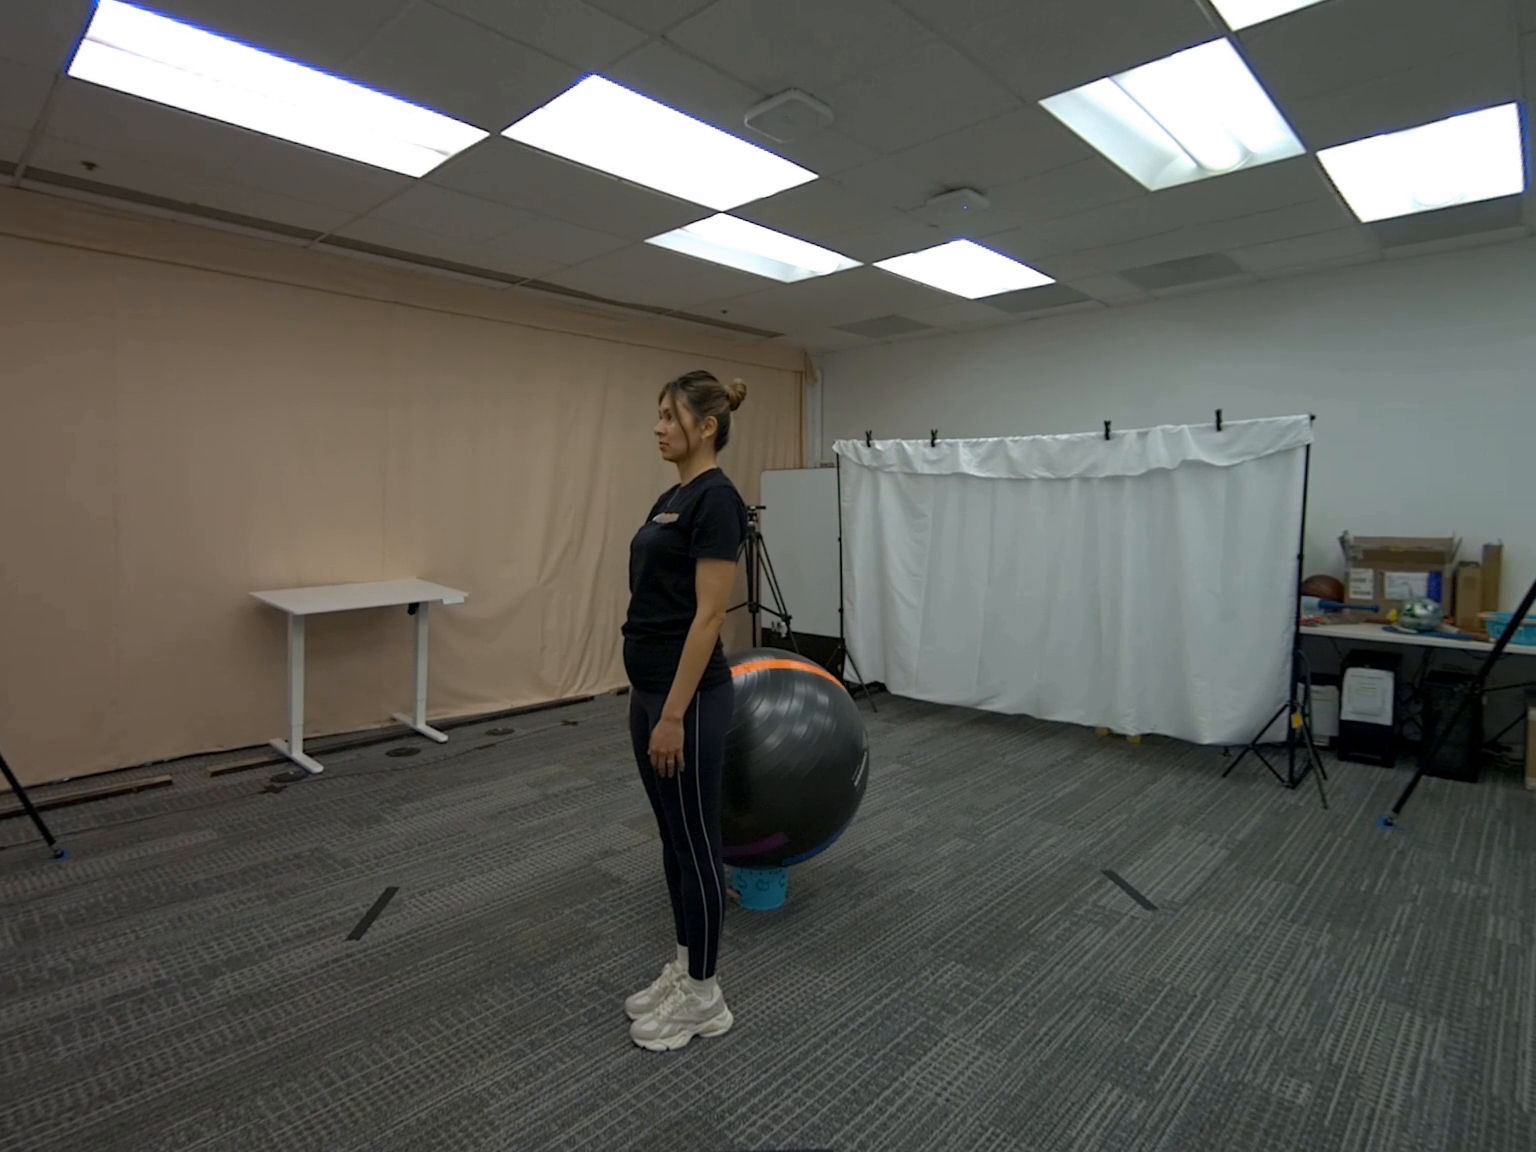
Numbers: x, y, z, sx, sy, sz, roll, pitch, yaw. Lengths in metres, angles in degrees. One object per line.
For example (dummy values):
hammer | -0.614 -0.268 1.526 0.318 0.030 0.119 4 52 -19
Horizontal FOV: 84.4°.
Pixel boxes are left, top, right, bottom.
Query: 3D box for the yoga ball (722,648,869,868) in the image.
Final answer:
yoga ball | -0.030 0.633 2.963 0.757 0.756 0.761 0 4 -2
